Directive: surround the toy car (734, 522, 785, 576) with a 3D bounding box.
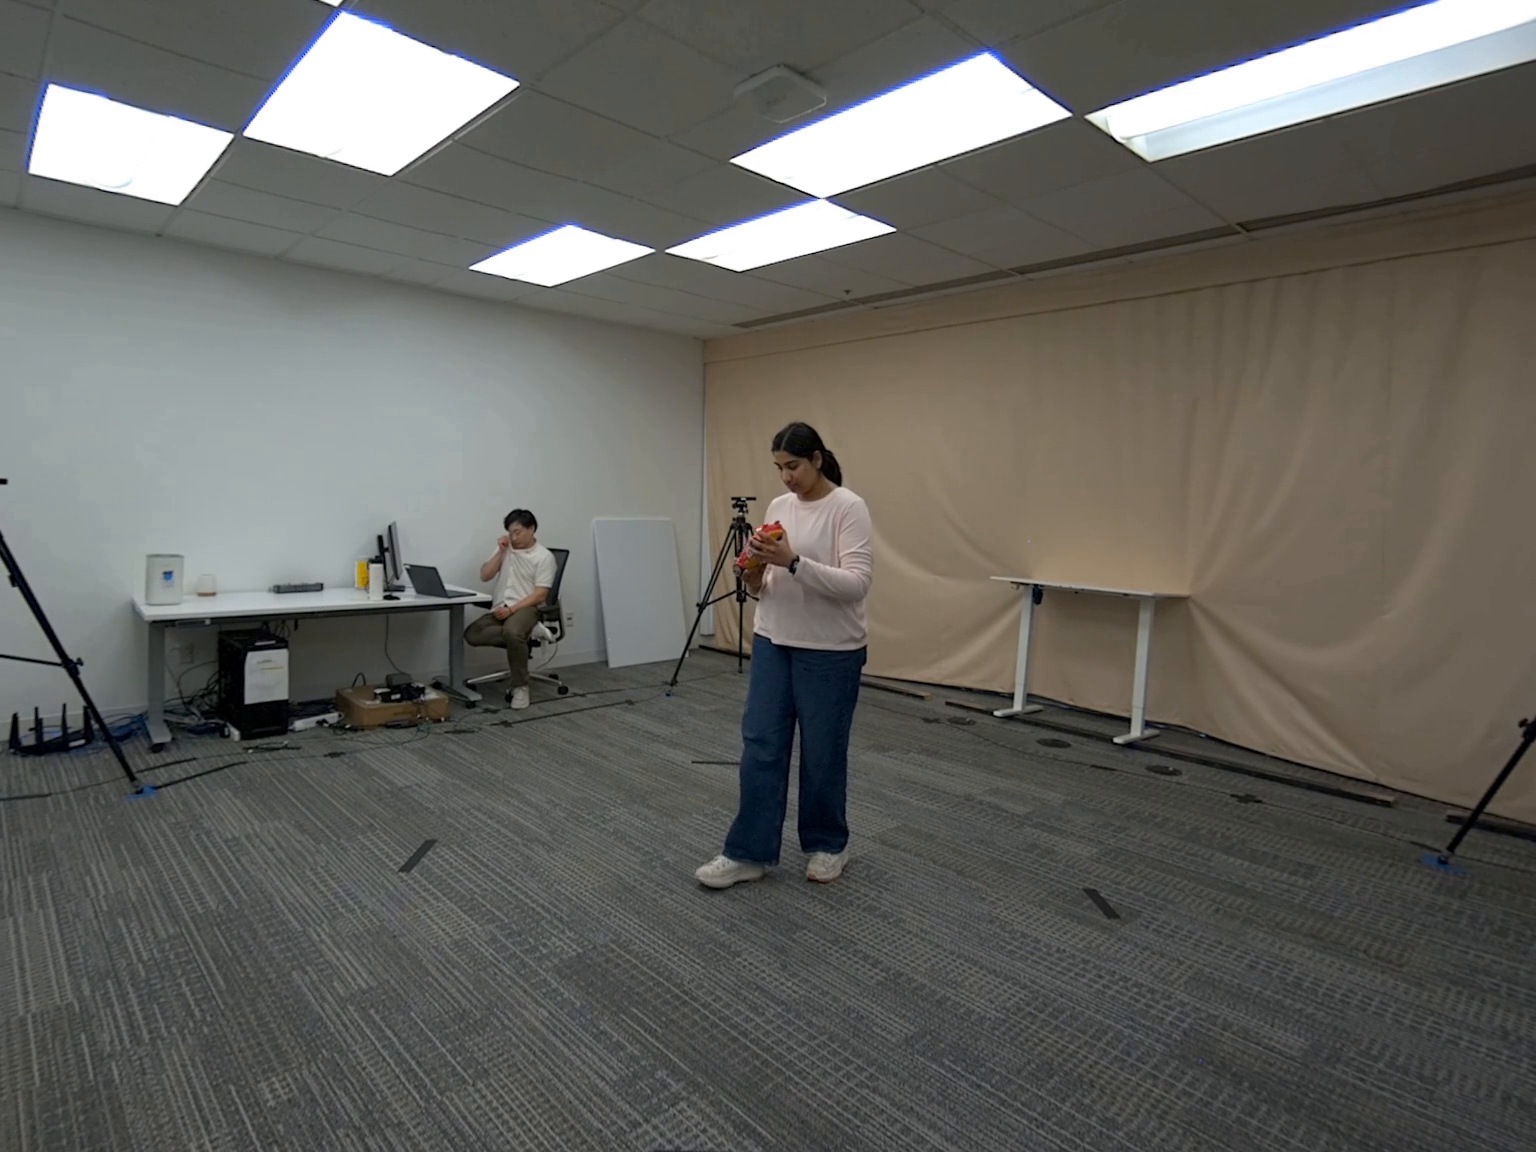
[{"bbox_3d":[-0.037,-0.091,2.868,0.128,0.251,0.085,-15,51,-37],"label":"toy car"}]
